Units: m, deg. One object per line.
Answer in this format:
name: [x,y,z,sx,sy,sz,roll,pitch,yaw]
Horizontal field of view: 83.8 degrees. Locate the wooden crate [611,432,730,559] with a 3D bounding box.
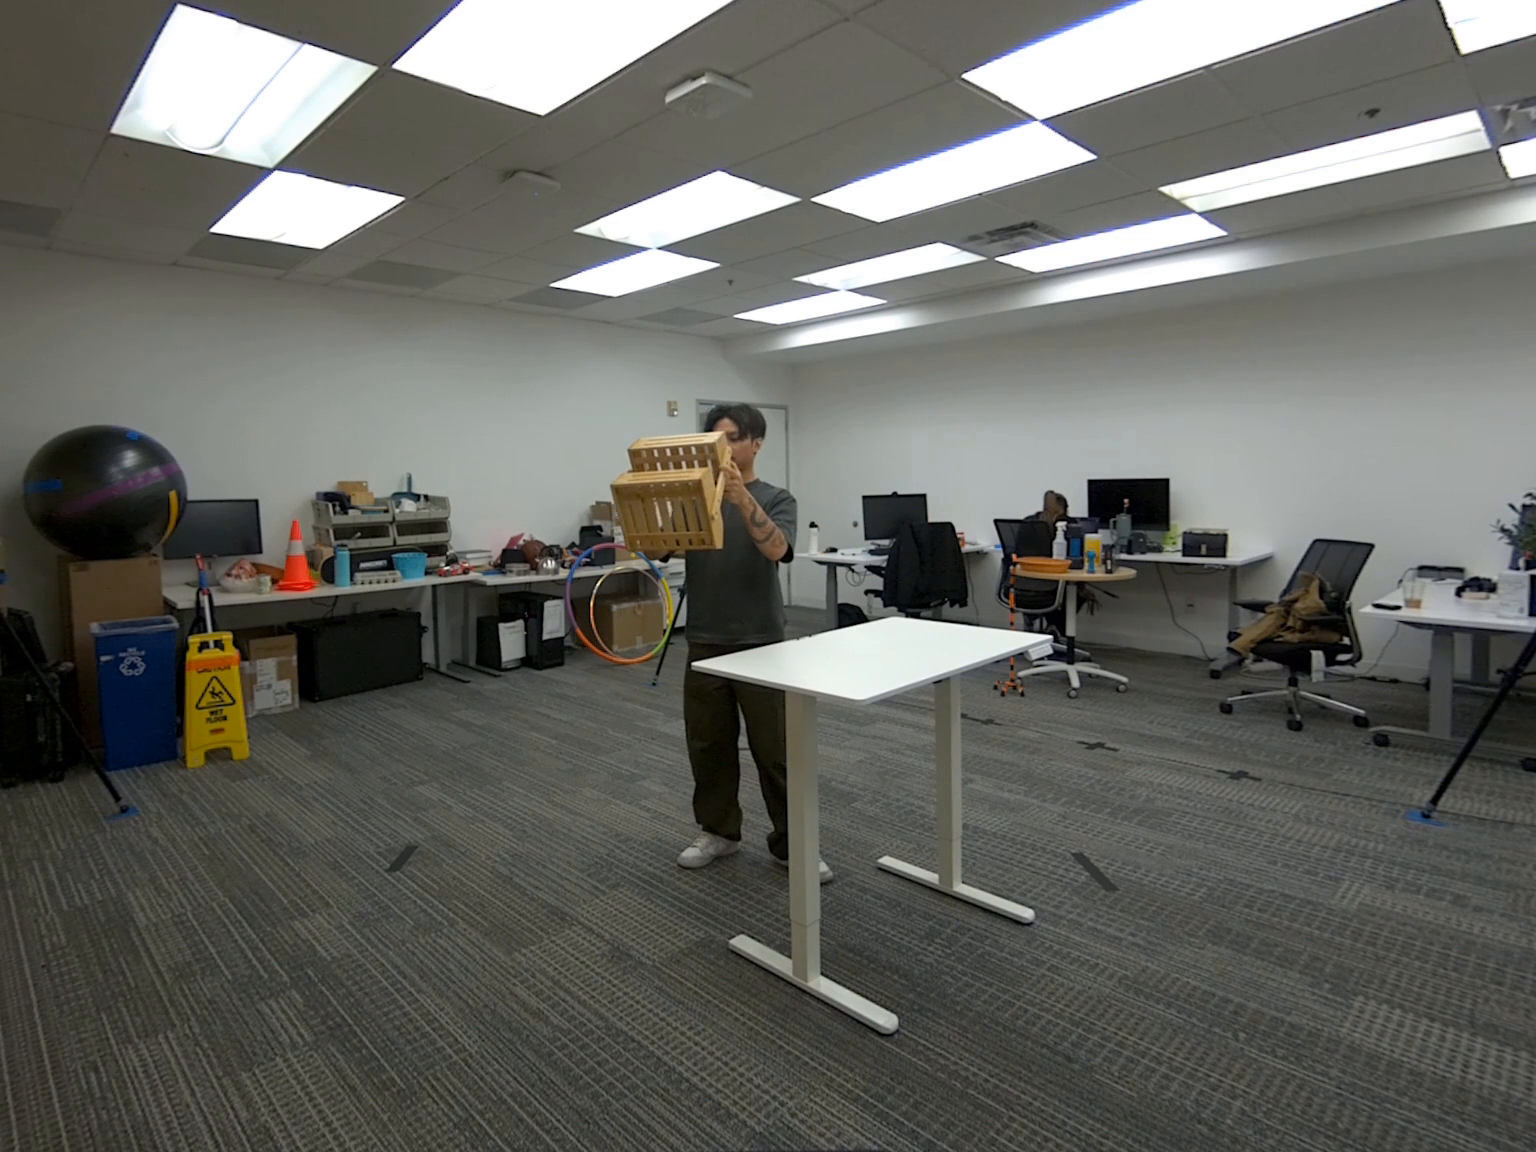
wooden crate: [-0.286,-0.256,2.691,0.330,0.294,0.276,-1,30,20]
